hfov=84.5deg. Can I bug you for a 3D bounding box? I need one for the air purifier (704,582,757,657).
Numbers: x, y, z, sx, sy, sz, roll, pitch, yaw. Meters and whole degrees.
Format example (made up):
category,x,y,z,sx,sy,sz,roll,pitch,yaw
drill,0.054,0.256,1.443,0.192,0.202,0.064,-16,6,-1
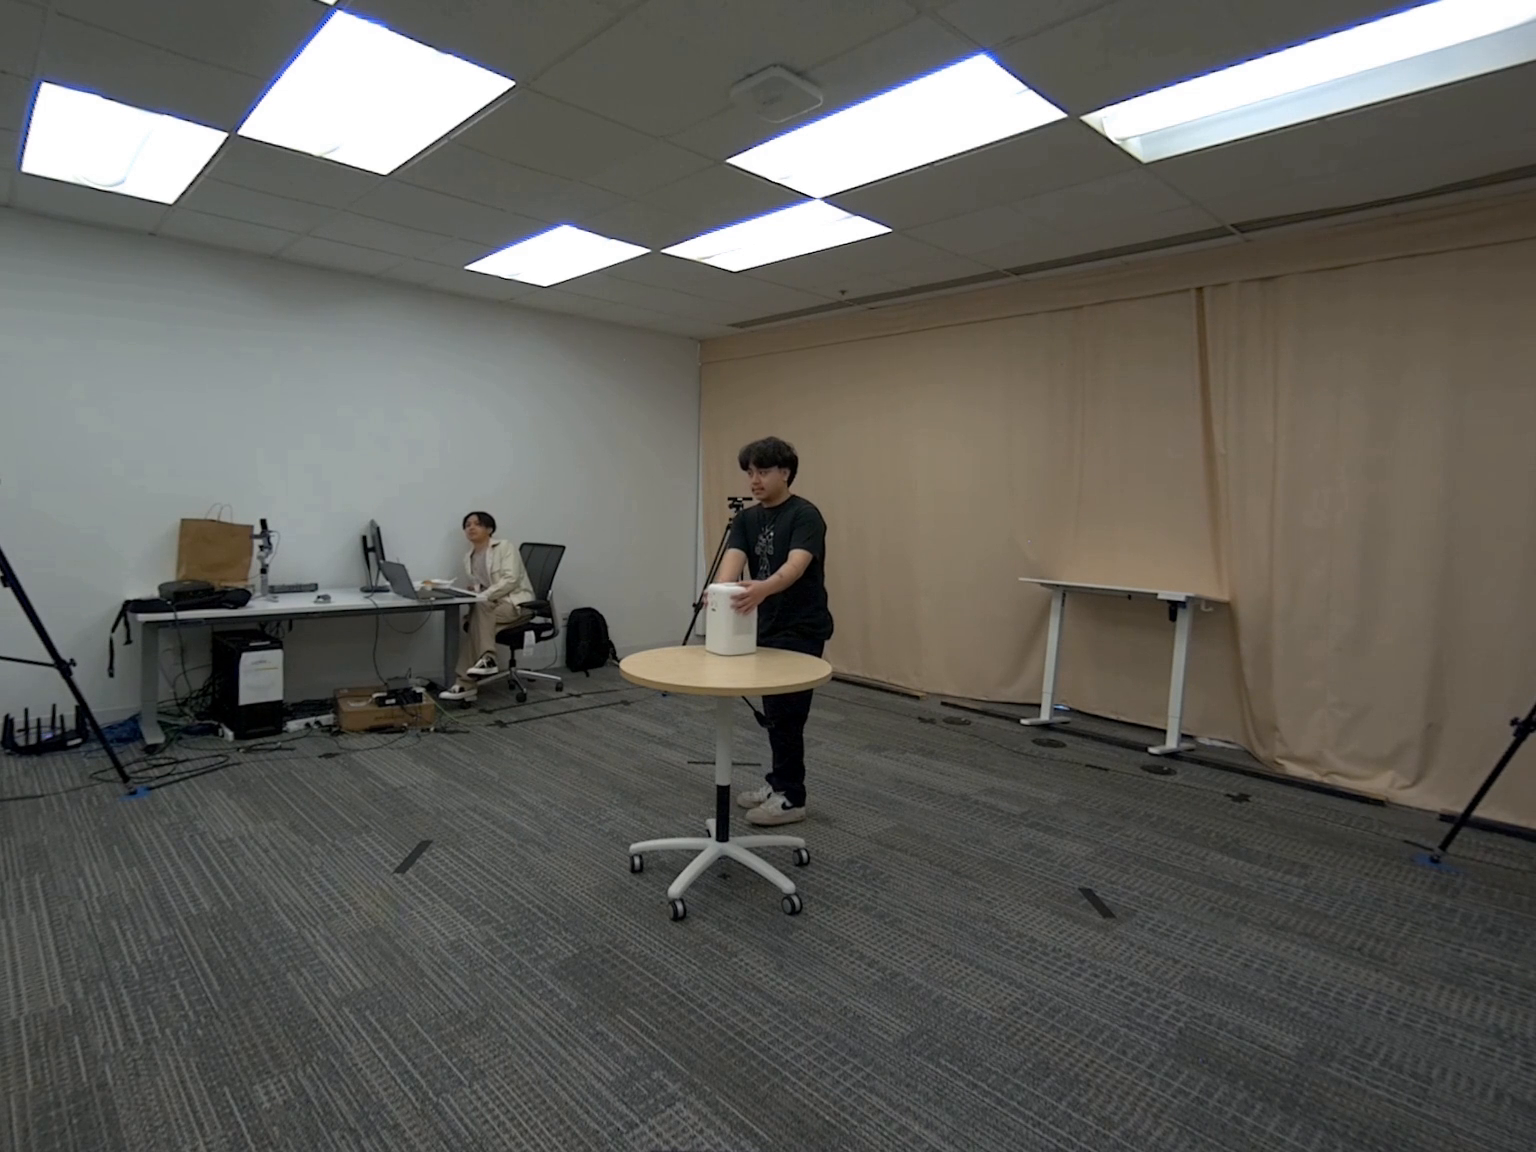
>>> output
category,x,y,z,sx,sy,sz,roll,pitch,yaw
air purifier,-0.151,0.164,3.288,0.168,0.265,0.175,-1,3,-37
